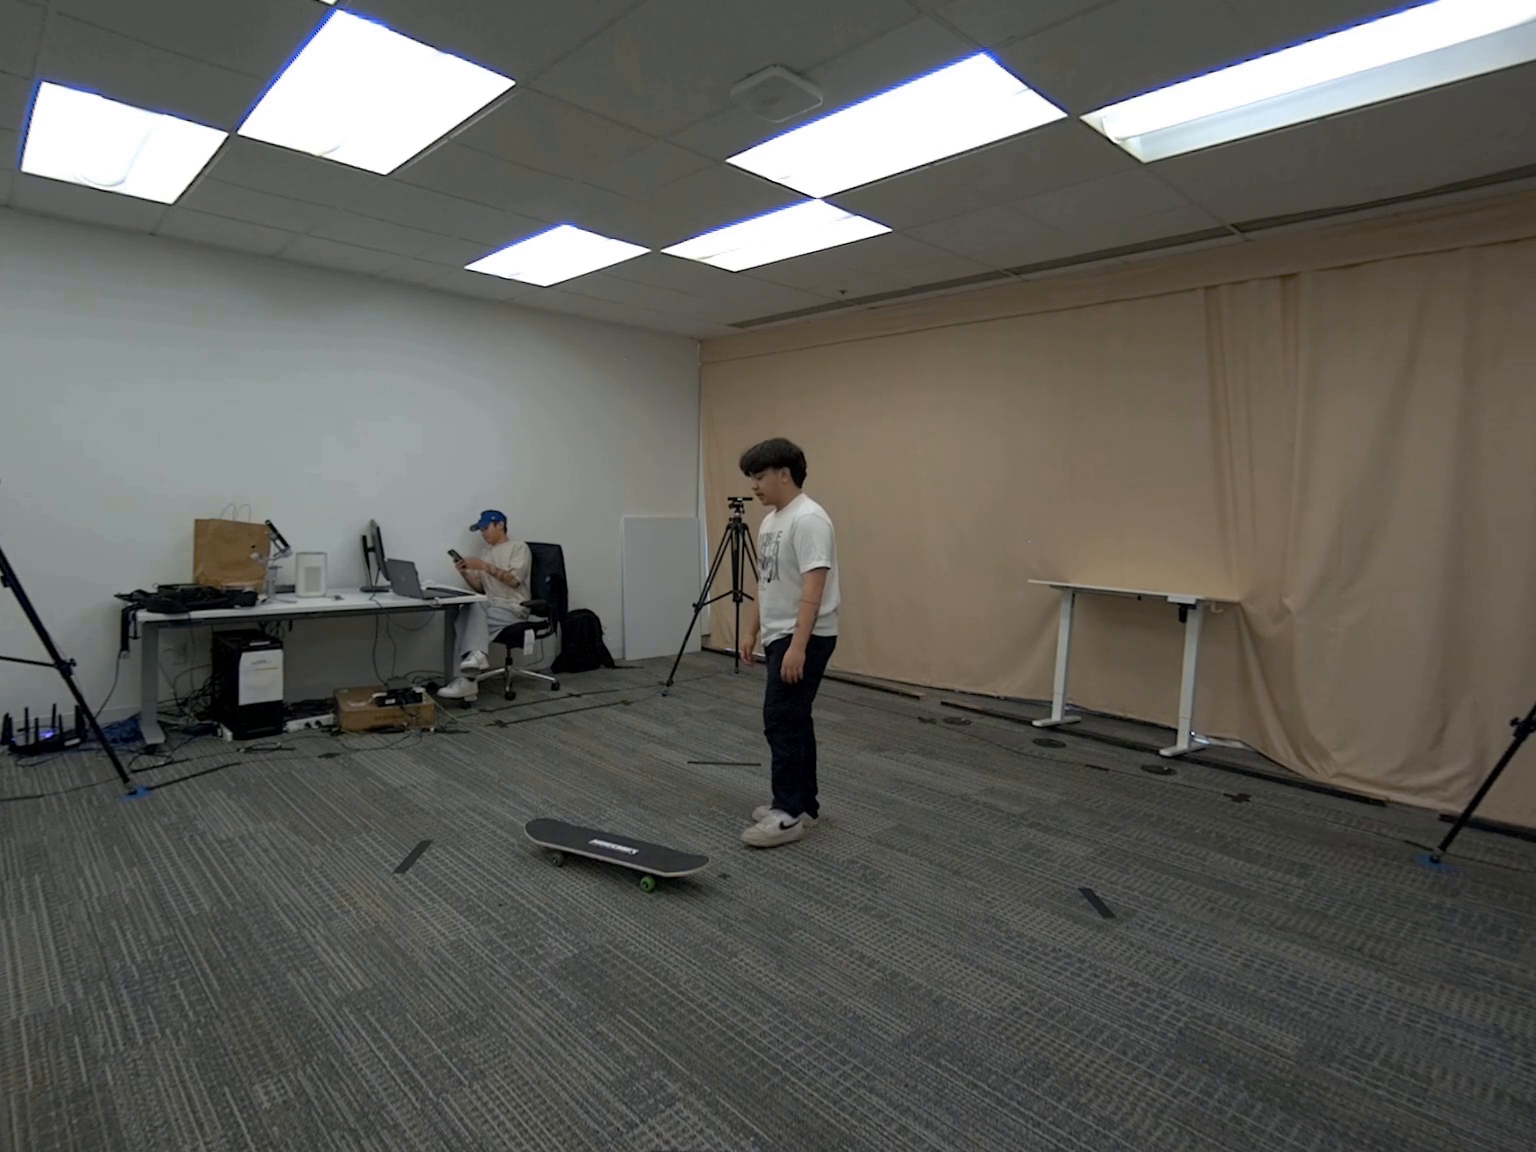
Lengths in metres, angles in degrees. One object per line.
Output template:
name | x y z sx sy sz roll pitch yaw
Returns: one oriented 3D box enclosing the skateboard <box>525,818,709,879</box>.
skateboard | -0.577 1.038 3.130 0.801 0.110 0.190 4 6 26
